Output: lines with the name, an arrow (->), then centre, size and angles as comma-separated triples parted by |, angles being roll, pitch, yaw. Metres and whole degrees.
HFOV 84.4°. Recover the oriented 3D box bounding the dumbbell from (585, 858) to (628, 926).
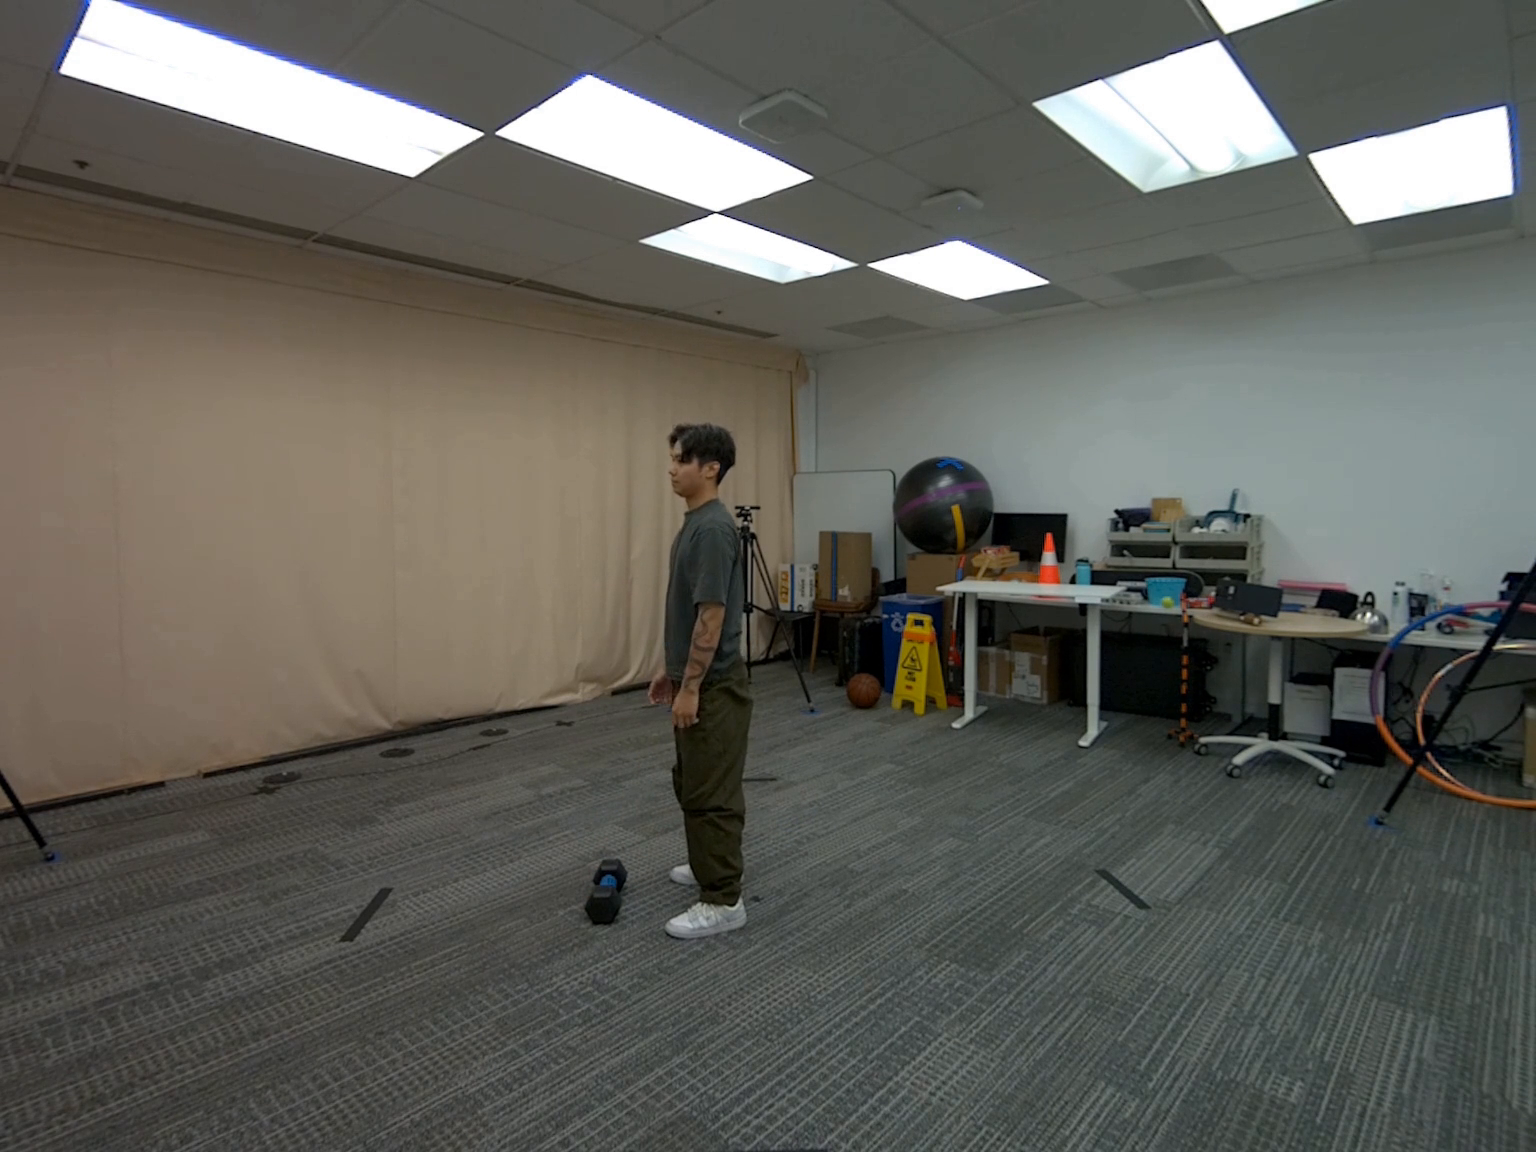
dumbbell -> -0.562, 1.103, 2.941 | 0.108, 0.123, 0.295 | 29, 2, -6
